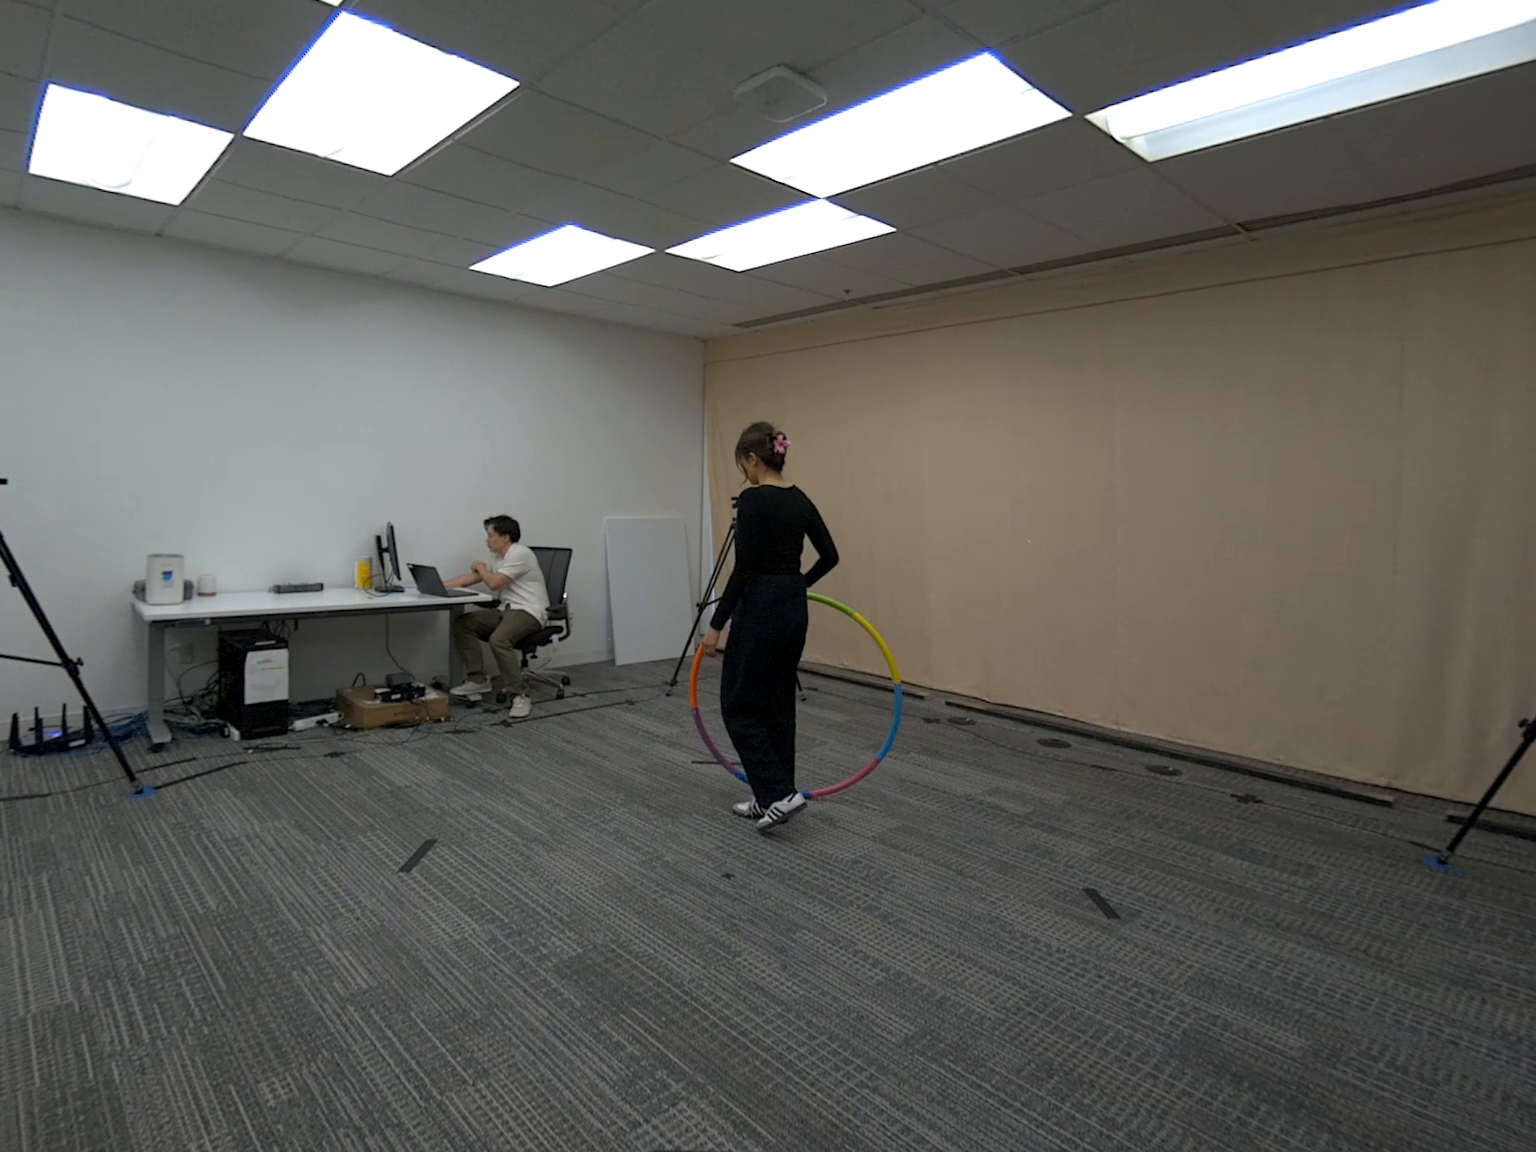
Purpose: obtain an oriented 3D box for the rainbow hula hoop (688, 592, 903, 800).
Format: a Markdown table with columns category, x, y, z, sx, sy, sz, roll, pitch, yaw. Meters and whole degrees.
| category | x | y | z | sx | sy | sz | roll | pitch | yaw |
| --- | --- | --- | --- | --- | --- | --- | --- | --- | --- |
| rainbow hula hoop | 0.099 | 0.552 | 3.920 | 0.988 | 0.978 | 0.035 | 2 | 0 | 12 |
